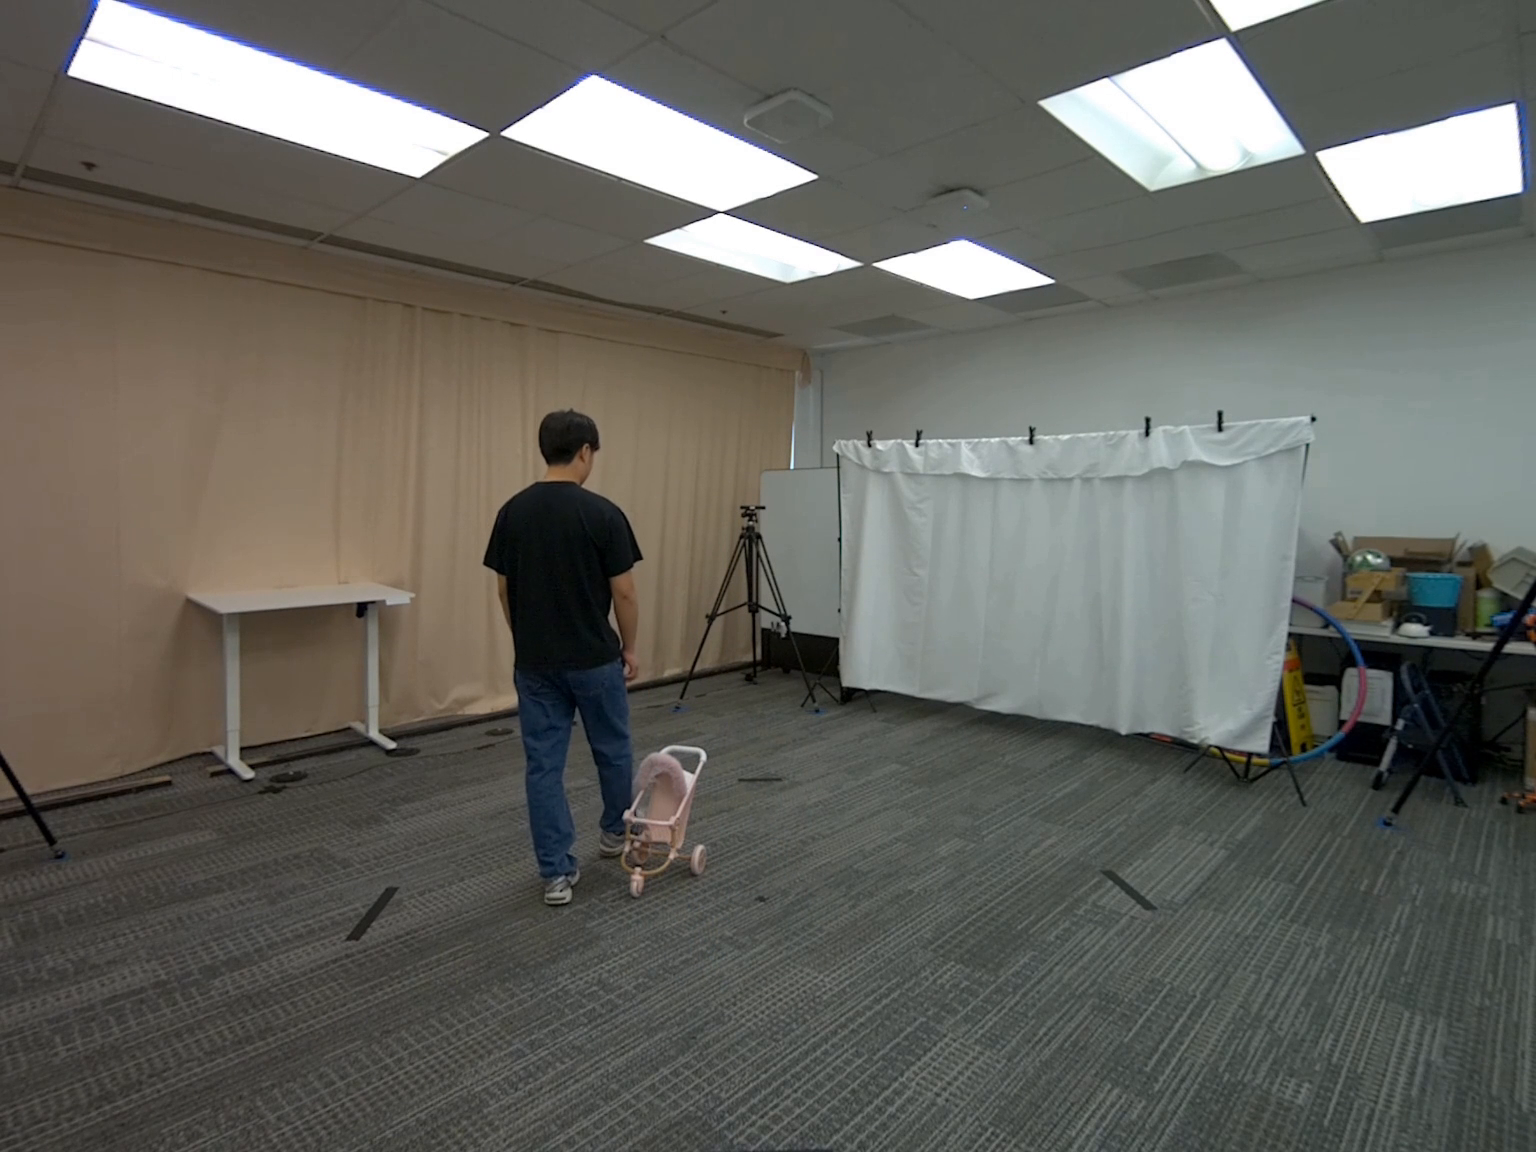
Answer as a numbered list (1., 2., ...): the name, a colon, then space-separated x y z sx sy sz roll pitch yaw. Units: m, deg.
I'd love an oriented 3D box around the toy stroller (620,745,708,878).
1. toy stroller: -0.405 0.910 3.164 0.289 0.538 0.330 -1 -13 26
